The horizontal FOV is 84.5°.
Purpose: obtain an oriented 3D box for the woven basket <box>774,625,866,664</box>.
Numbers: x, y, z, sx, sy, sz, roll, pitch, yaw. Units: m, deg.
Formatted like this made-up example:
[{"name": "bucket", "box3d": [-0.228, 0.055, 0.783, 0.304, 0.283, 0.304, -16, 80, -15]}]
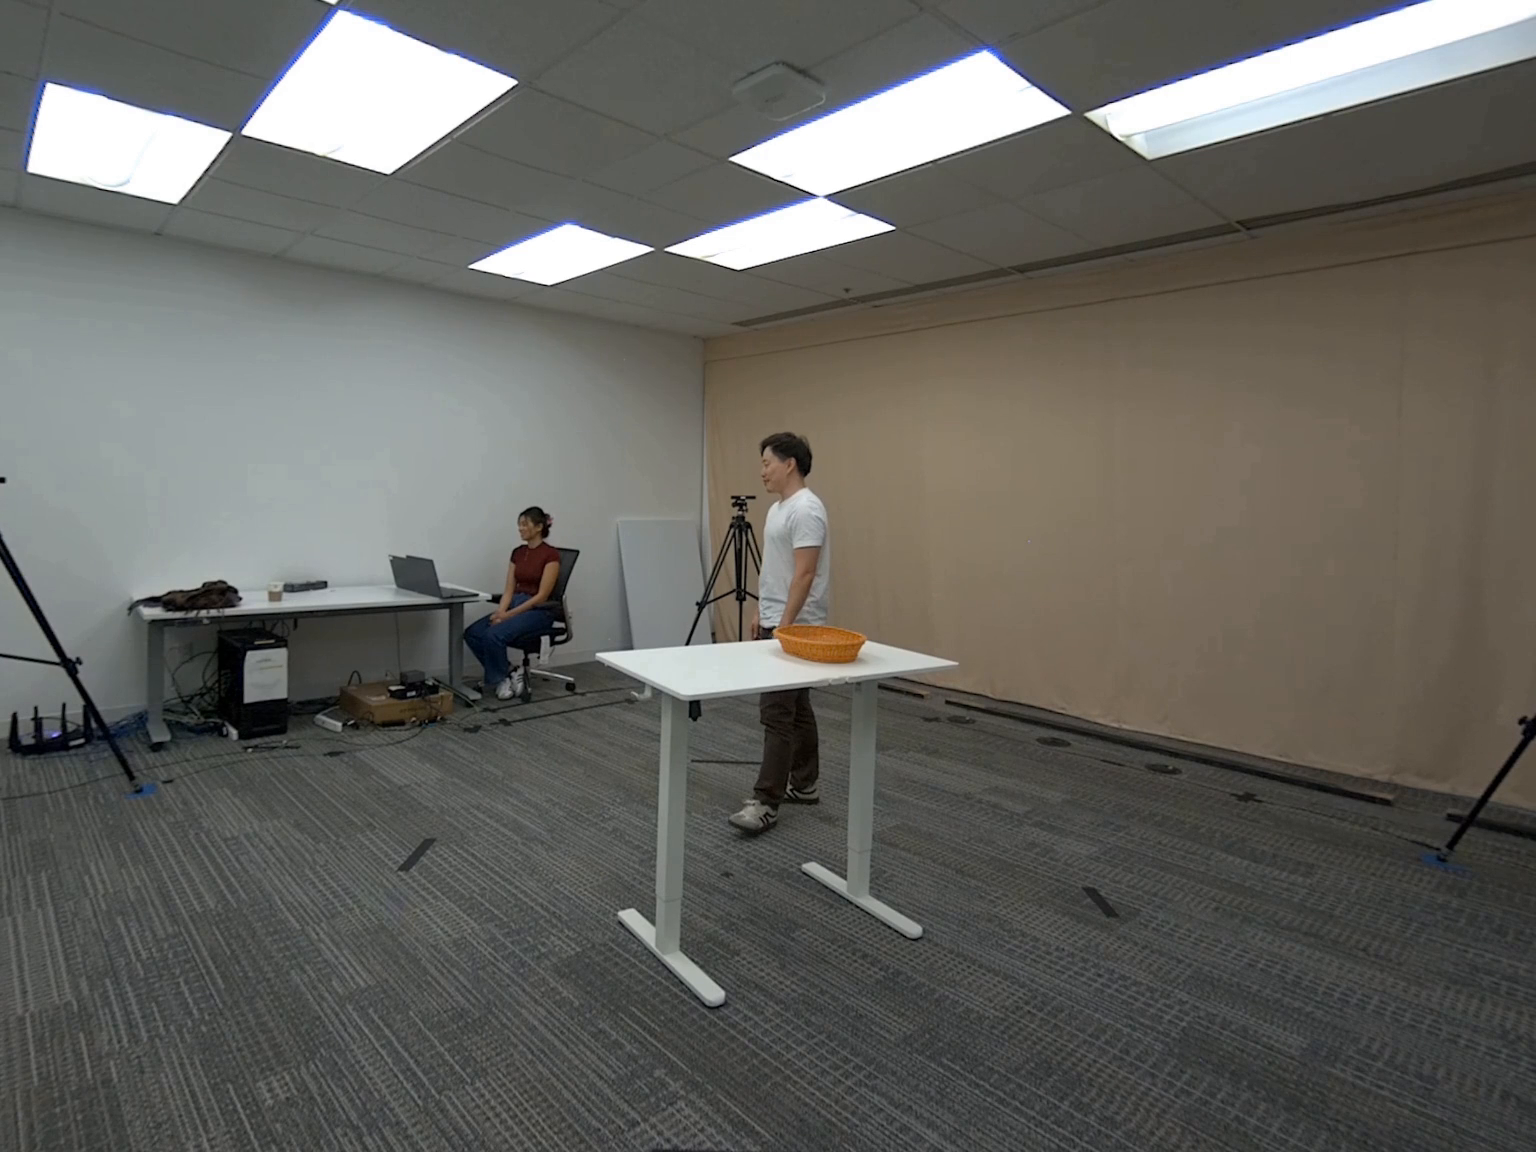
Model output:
[{"name": "woven basket", "box3d": [0.158, 0.233, 2.750, 0.248, 0.073, 0.358, -2, 7, -26]}]
